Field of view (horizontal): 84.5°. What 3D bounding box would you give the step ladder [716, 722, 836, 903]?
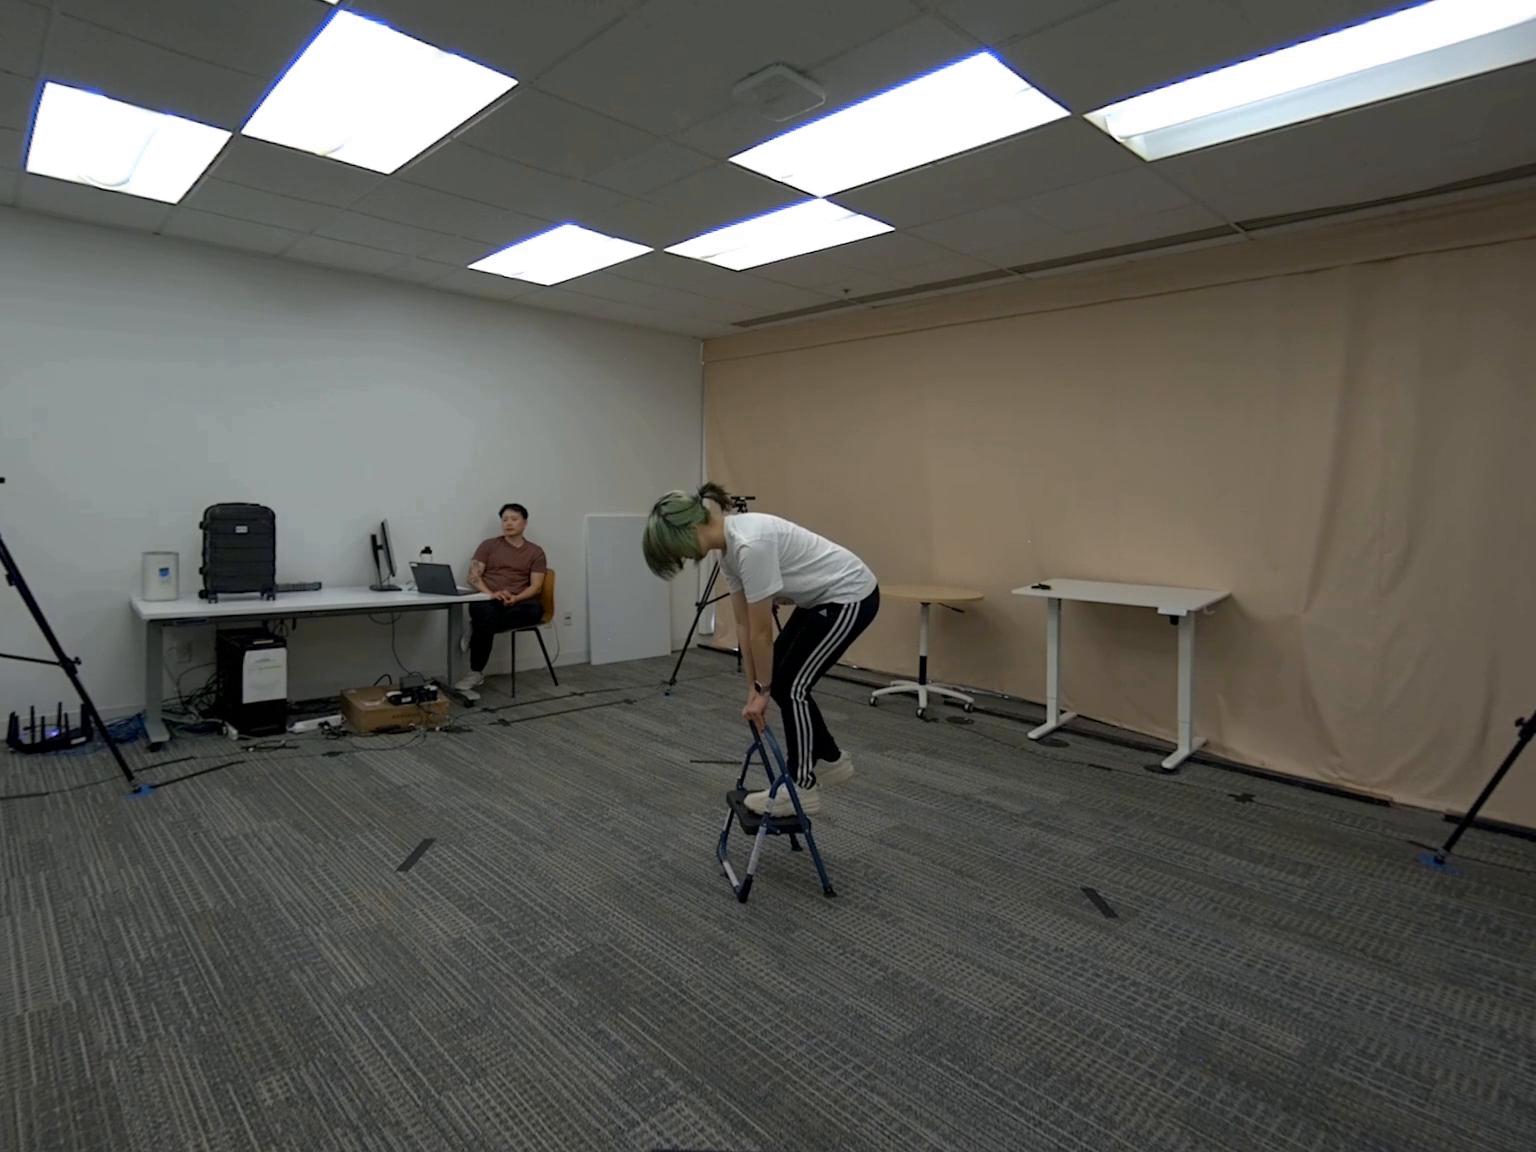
[{"bbox_3d":[0.016,0.810,3.106,0.345,0.605,0.436,1,3,-15],"label":"step ladder"}]
